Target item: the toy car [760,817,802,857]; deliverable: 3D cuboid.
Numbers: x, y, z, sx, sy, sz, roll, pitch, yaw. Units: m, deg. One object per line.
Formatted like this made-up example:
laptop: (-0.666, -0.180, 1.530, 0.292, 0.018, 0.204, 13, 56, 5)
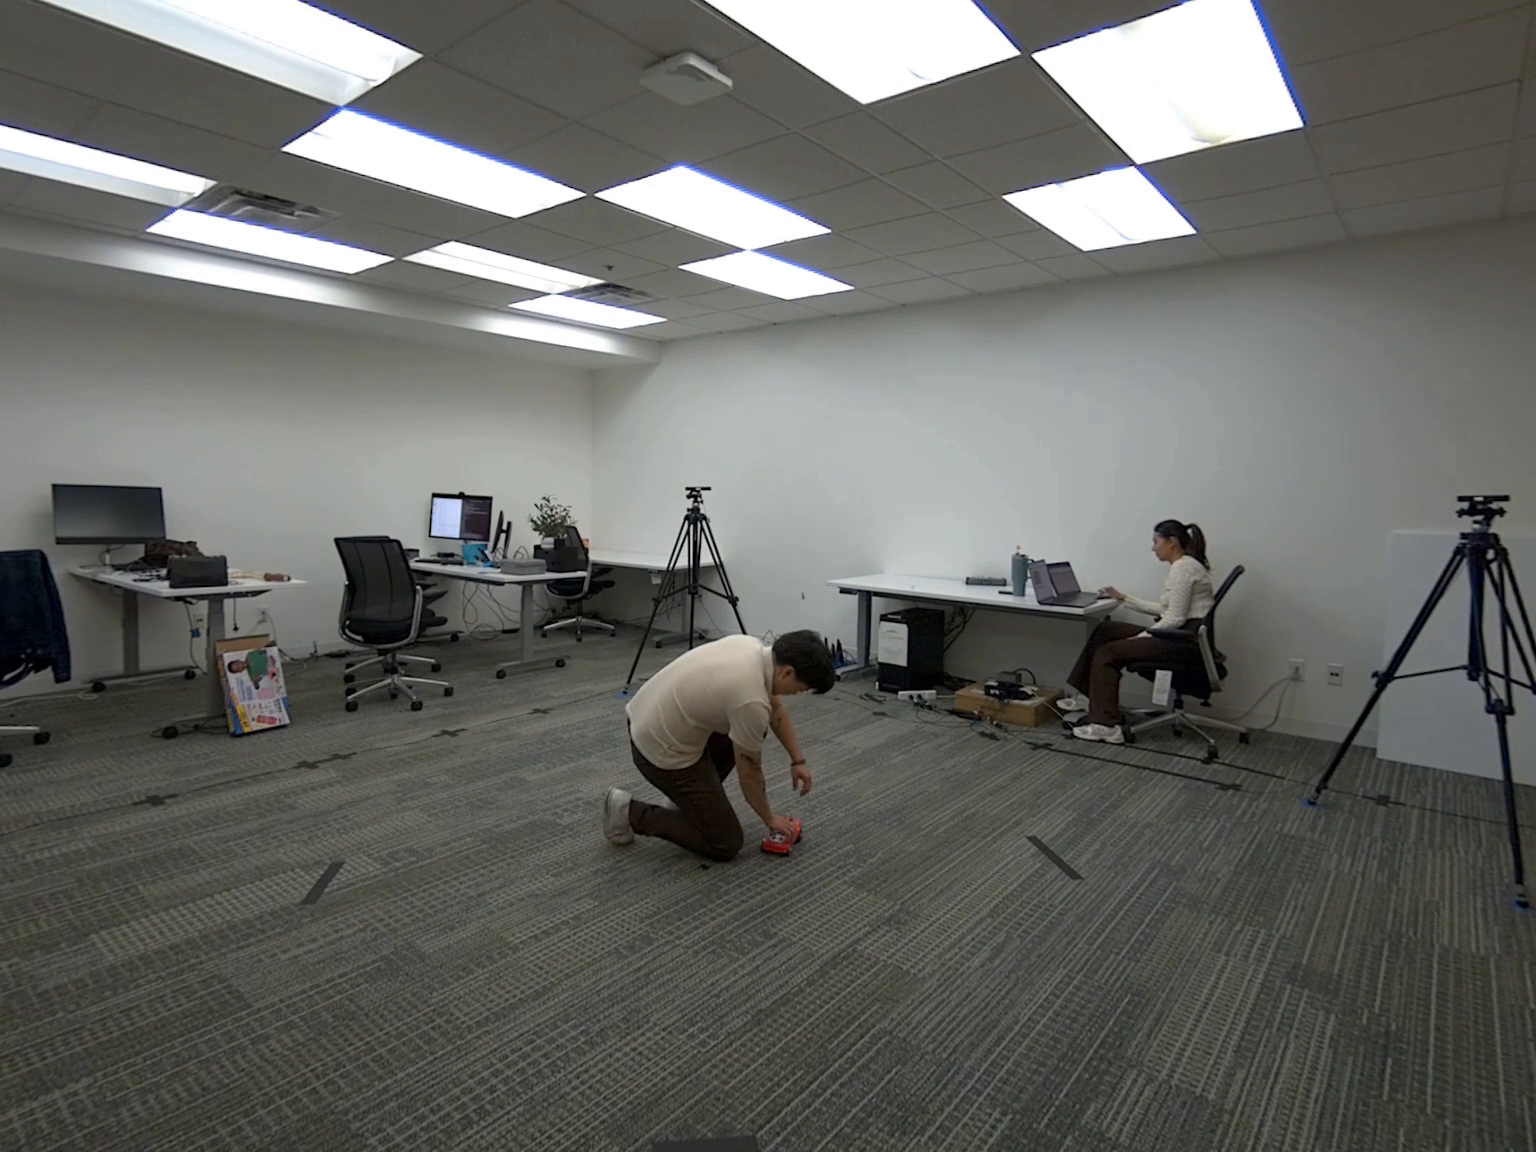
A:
toy car: (0.052, 1.016, 3.335, 0.133, 0.082, 0.253, 3, 18, 19)
